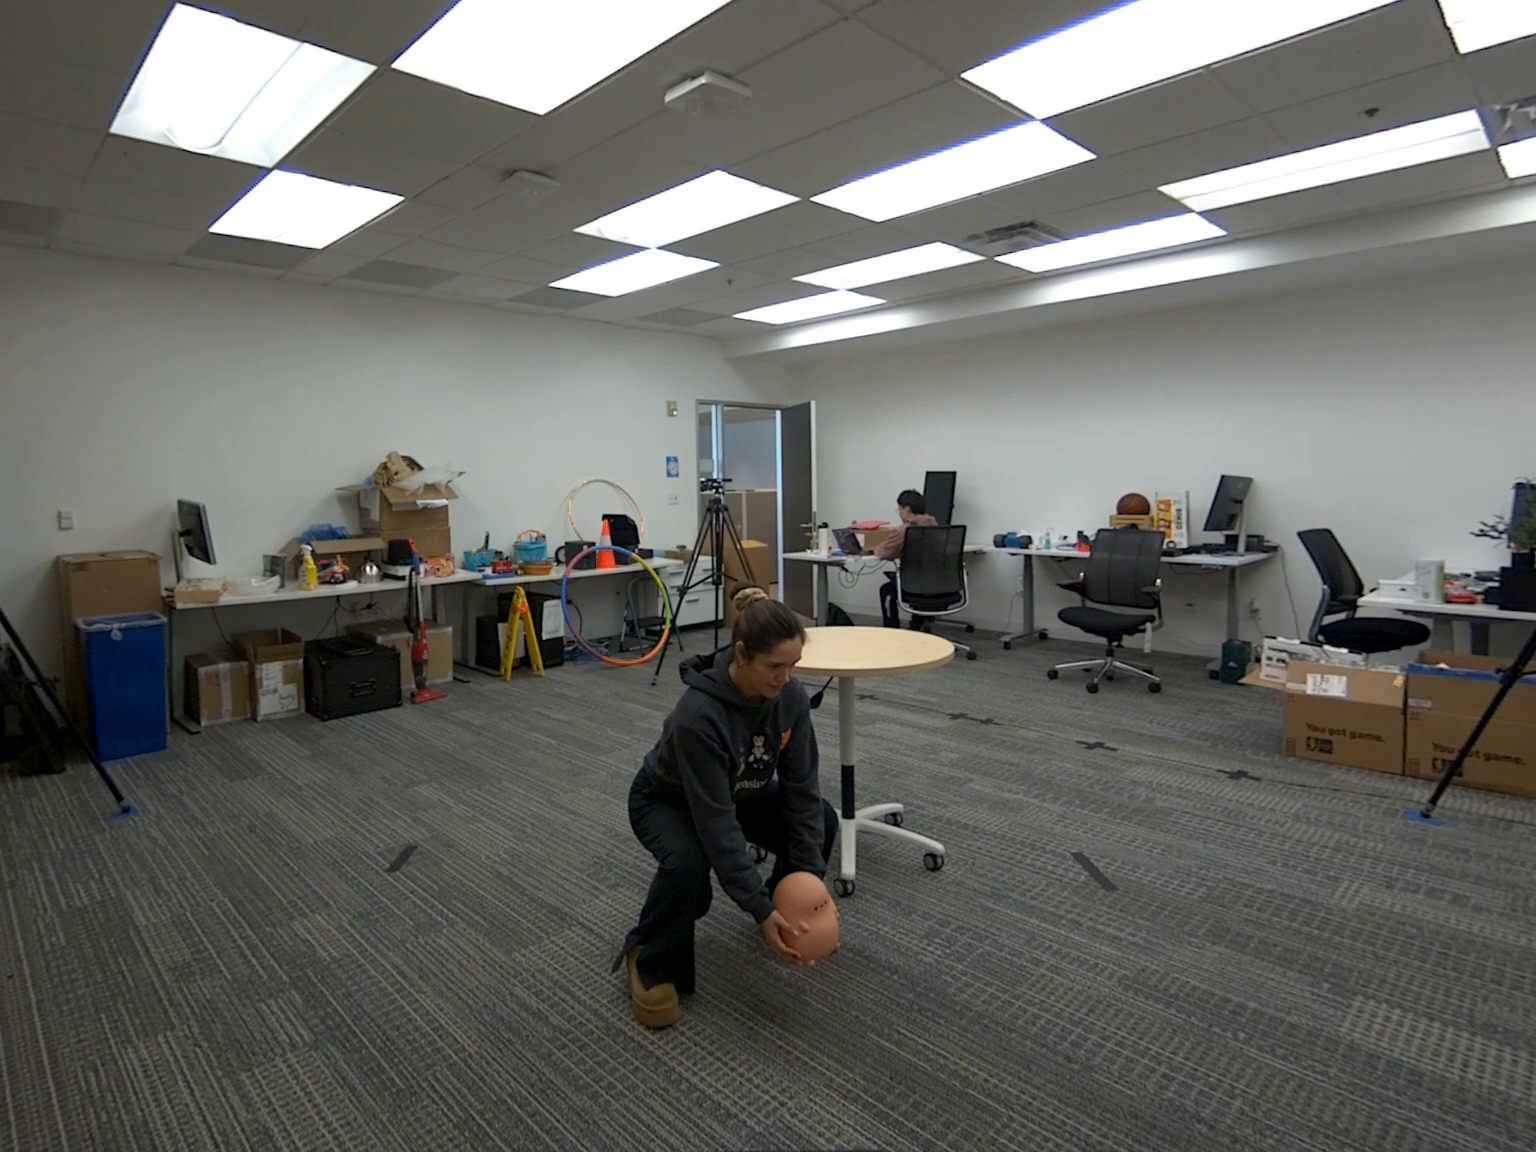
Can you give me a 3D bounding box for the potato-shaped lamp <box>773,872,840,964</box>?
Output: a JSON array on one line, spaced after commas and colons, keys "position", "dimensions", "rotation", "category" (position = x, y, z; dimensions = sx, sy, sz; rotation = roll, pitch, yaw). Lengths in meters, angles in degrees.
[{"position": [0.088, 0.853, 2.159], "dimensions": [0.160, 0.197, 0.177], "rotation": [-7, 9, -43], "category": "potato-shaped lamp"}]
